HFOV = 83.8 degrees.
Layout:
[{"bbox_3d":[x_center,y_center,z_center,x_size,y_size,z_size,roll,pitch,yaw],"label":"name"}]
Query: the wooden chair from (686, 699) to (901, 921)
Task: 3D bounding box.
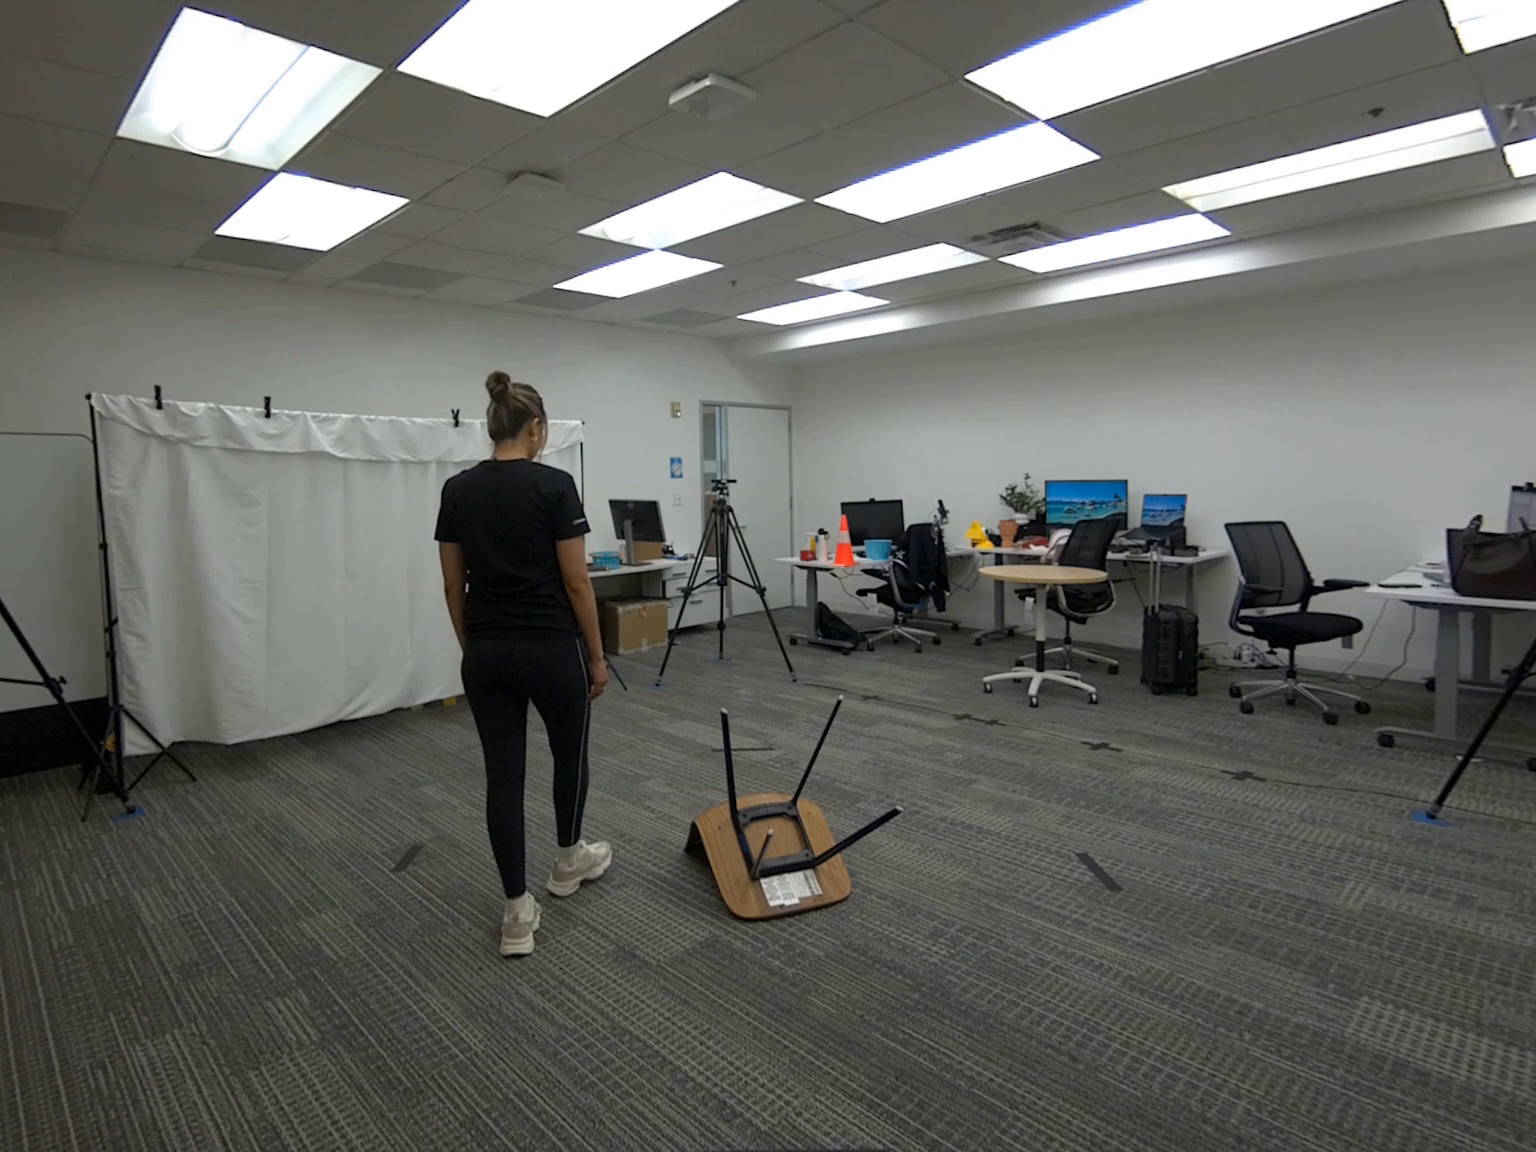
[{"bbox_3d":[0.024,0.895,2.915,0.468,0.864,0.542,-2,46,-25],"label":"wooden chair"}]
